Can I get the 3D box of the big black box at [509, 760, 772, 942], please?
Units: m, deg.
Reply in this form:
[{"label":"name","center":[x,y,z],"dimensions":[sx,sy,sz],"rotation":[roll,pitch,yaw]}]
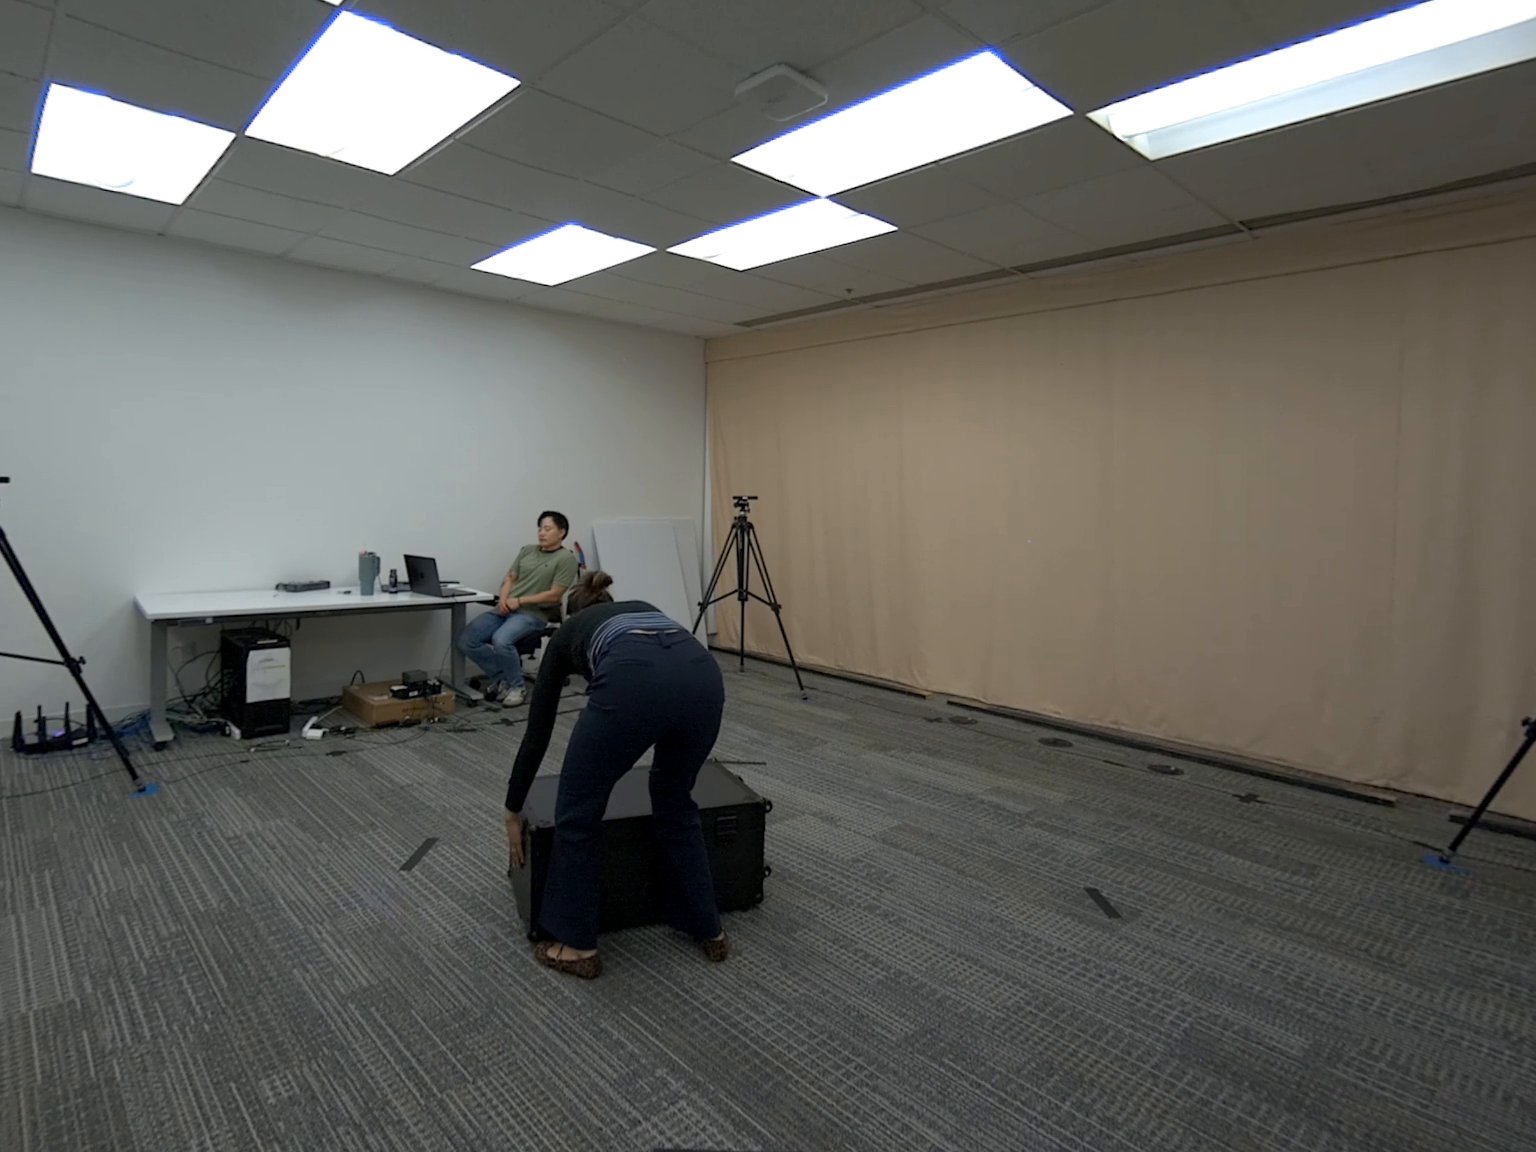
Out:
[{"label":"big black box","center":[-0.487,0.923,2.904],"dimensions":[0.847,0.395,0.532],"rotation":[-1,5,-23]}]
